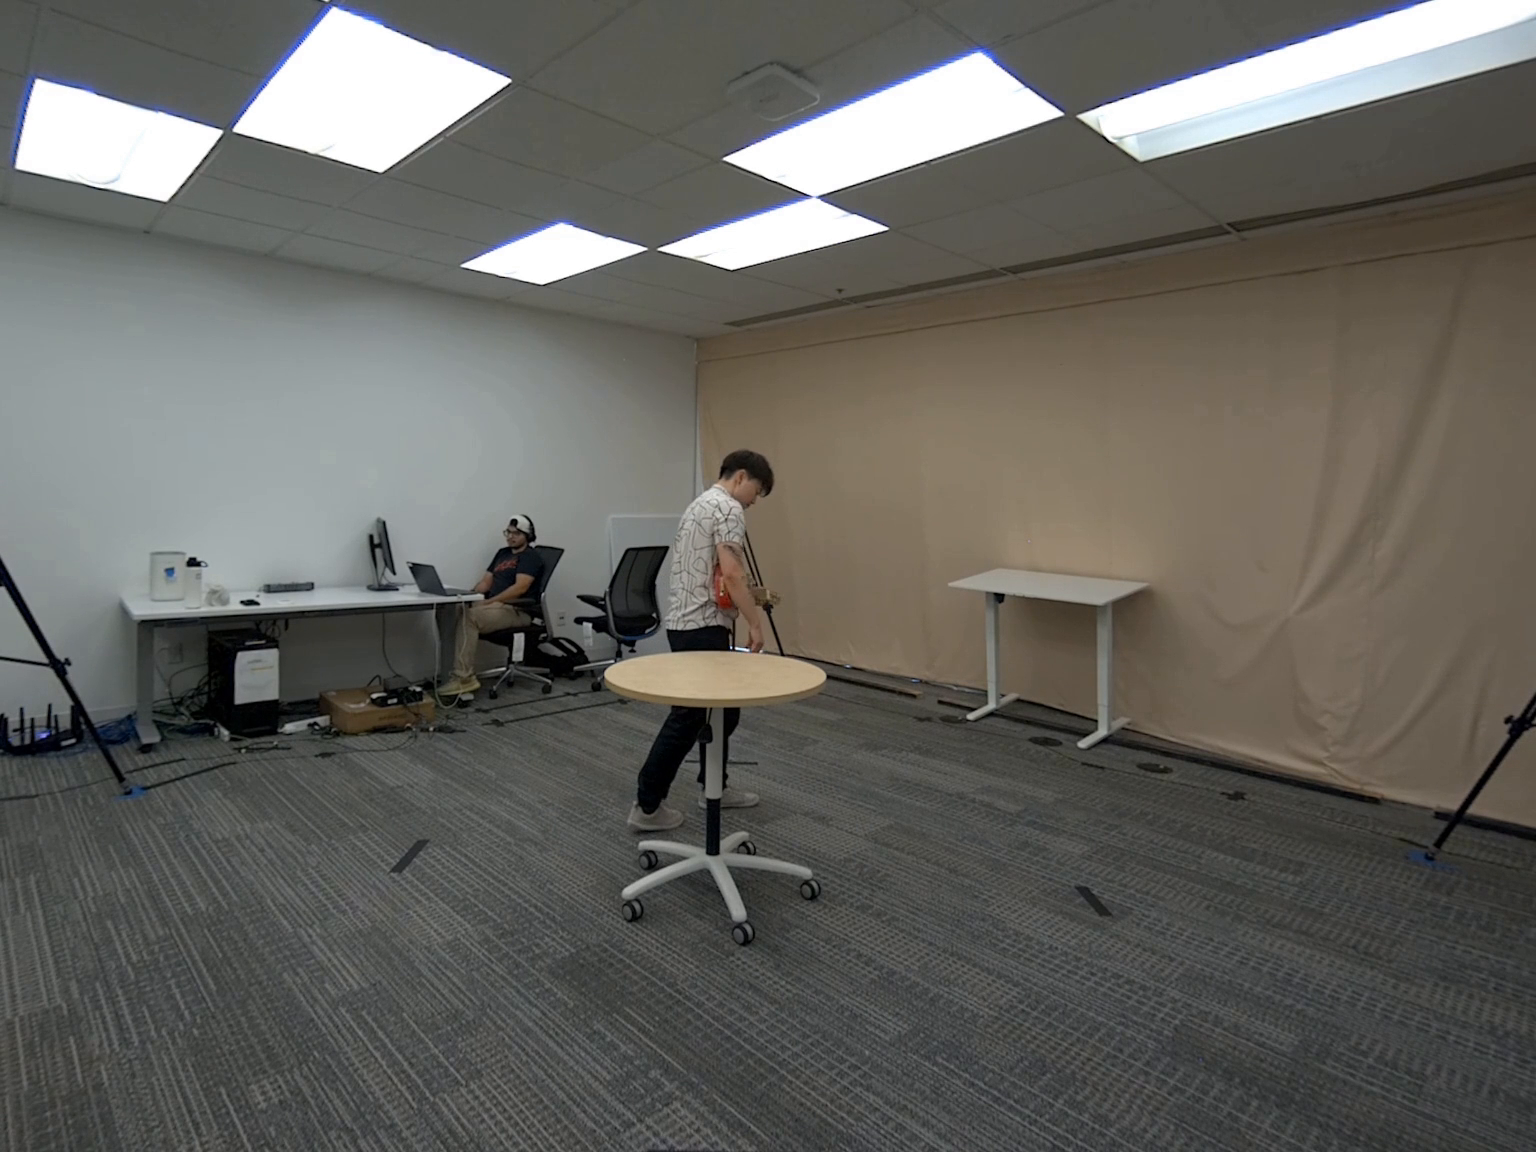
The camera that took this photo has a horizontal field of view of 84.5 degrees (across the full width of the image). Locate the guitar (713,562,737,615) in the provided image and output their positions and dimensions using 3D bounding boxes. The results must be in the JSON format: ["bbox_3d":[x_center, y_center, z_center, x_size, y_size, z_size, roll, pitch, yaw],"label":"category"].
[{"bbox_3d":[-0.085,0.095,3.659,0.072,0.196,0.483,-12,-24,25],"label":"guitar"}]
